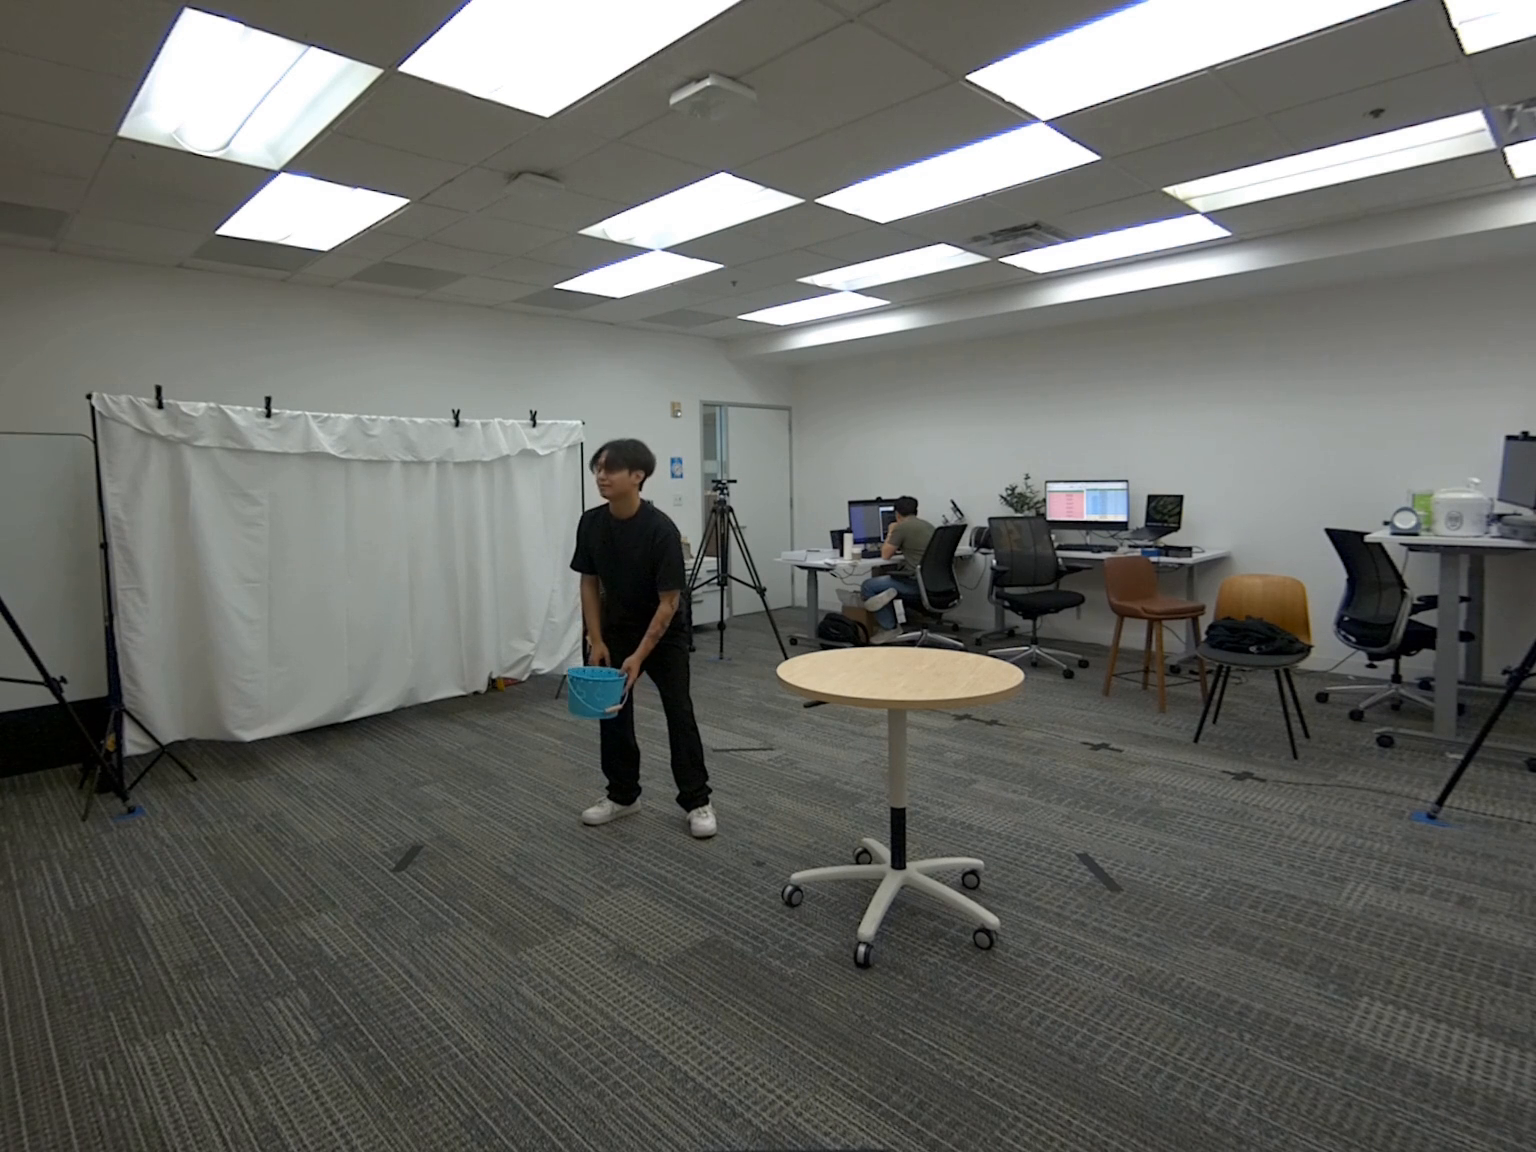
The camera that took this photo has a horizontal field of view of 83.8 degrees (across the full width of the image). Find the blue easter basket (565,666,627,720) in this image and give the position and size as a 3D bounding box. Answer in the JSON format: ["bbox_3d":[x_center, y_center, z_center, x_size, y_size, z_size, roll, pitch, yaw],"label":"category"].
[{"bbox_3d":[-0.651,0.443,3.197,0.243,0.155,0.244,3,3,-2],"label":"blue easter basket"}]
